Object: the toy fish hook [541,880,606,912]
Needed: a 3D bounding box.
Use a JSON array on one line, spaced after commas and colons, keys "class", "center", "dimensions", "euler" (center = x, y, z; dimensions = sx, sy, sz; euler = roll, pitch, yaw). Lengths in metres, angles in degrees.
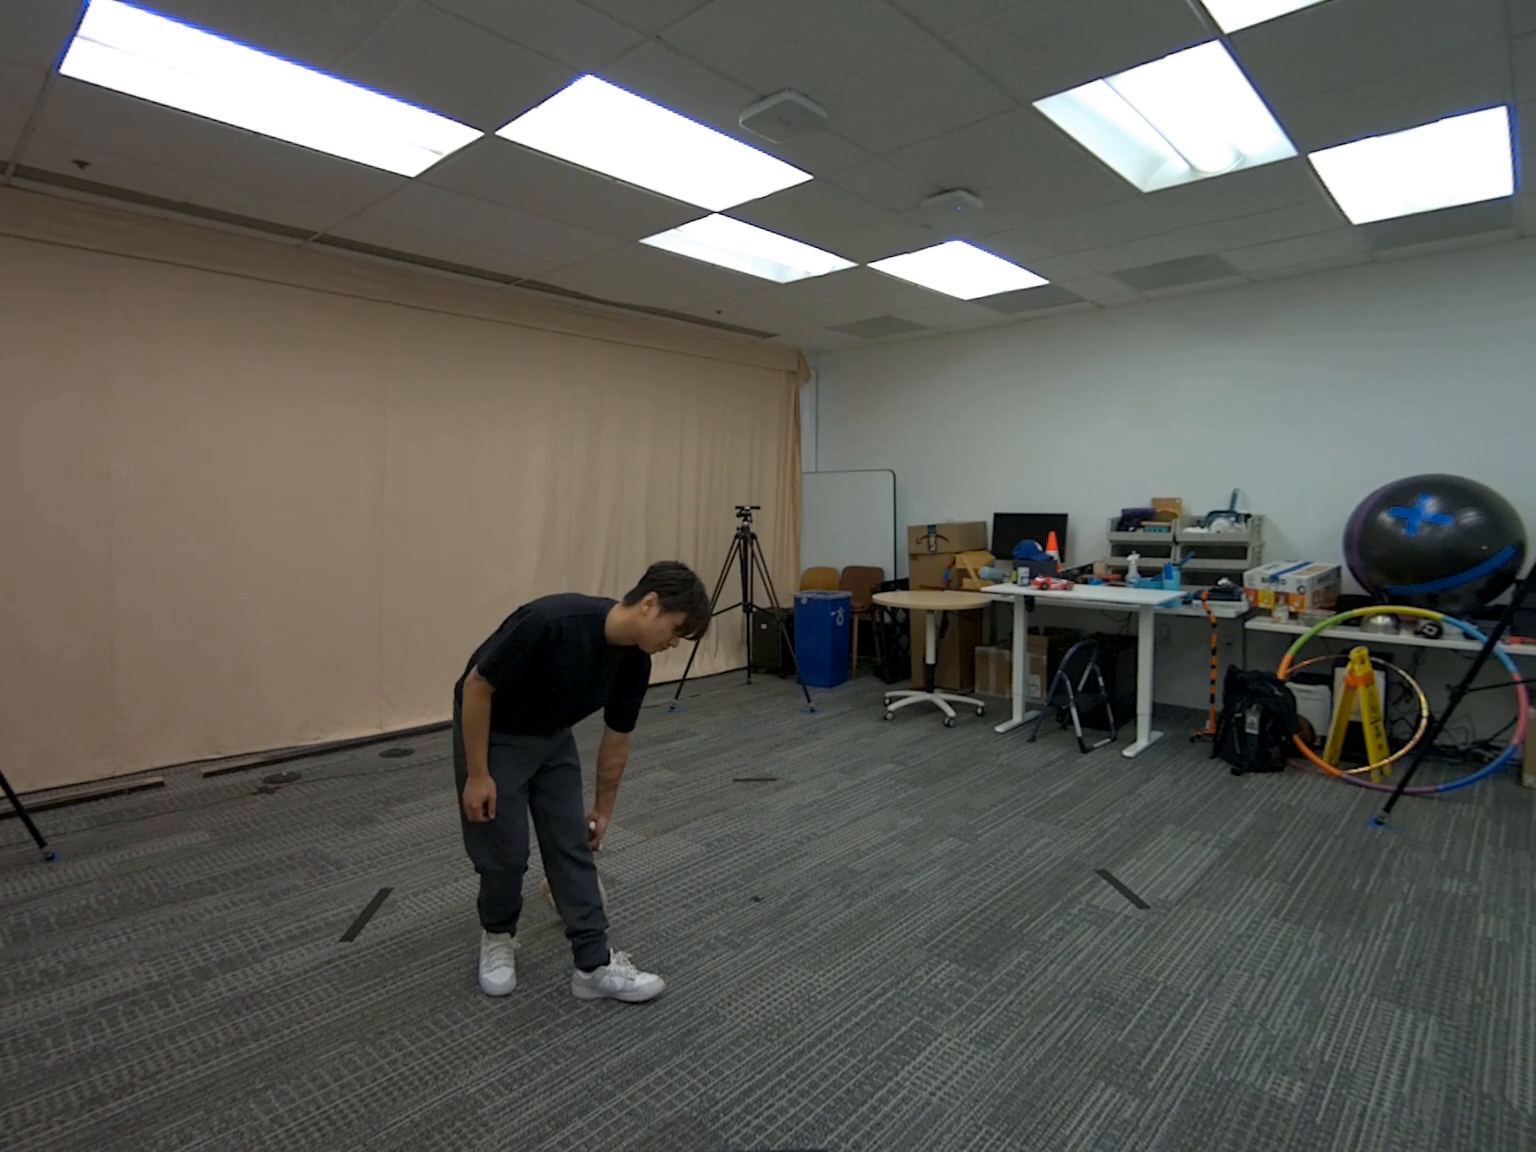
[{"class": "toy fish hook", "center": [-0.627, 0.956, 2.692], "dimensions": [0.224, 0.500, 0.049], "euler": [9, 32, -1]}]
